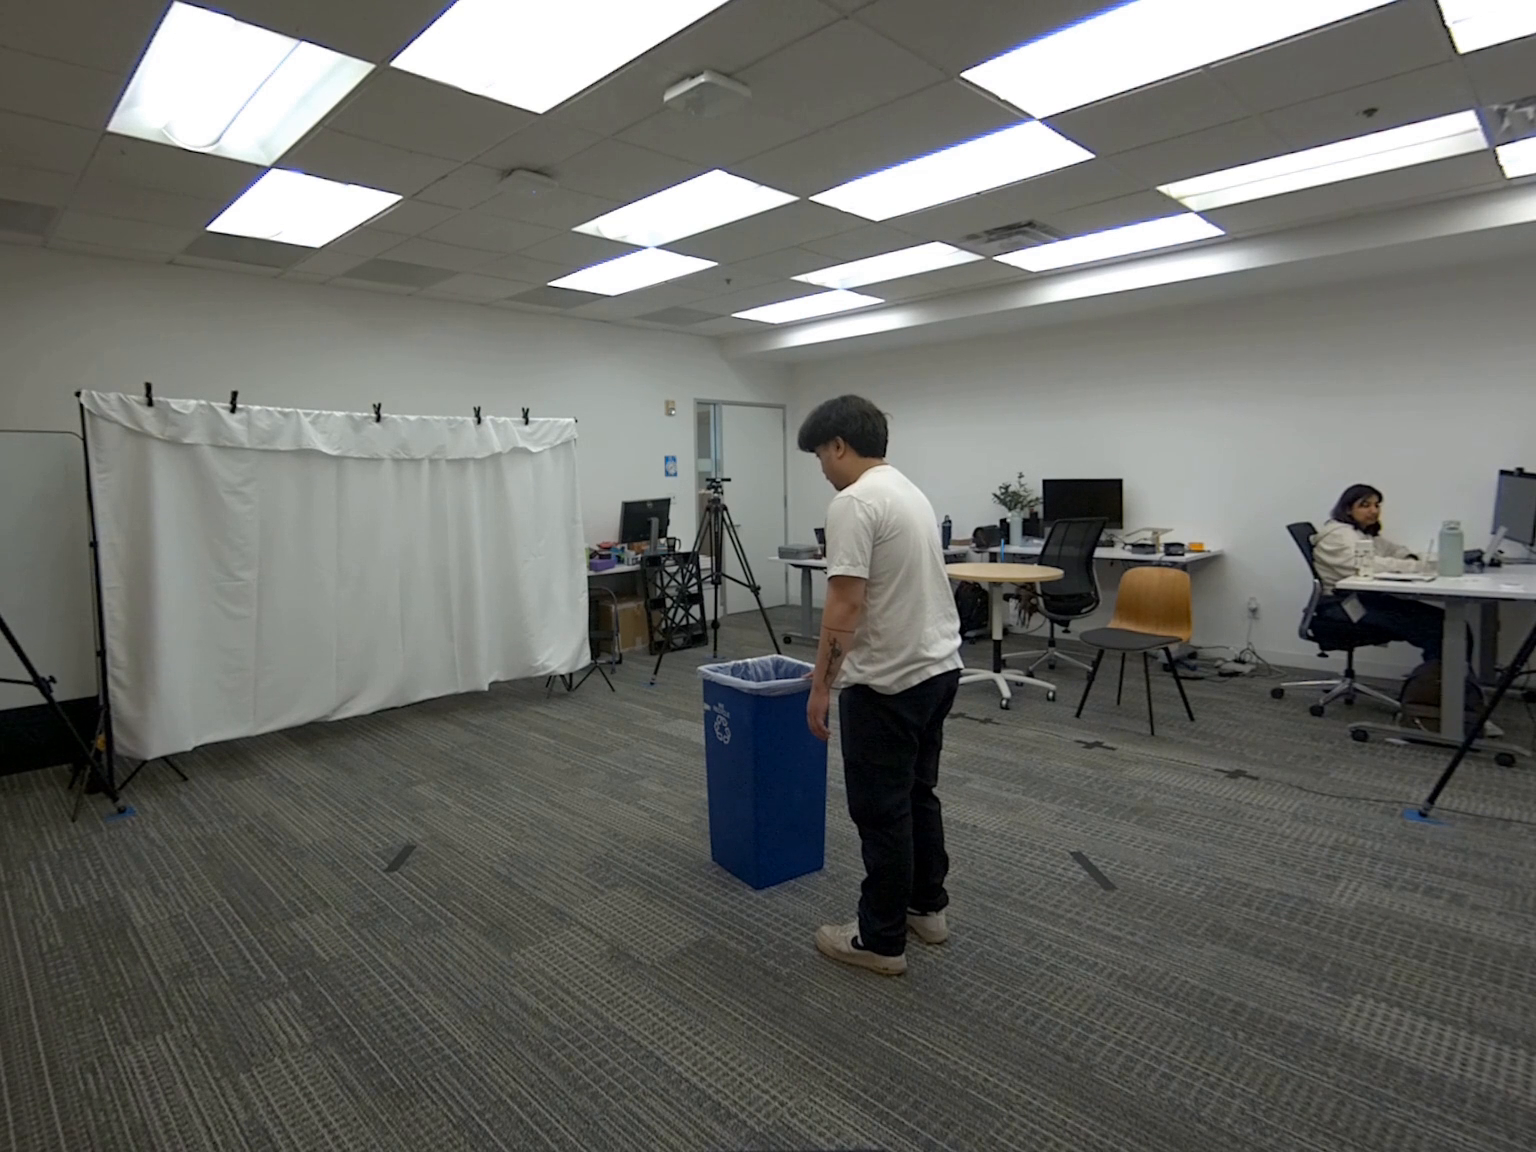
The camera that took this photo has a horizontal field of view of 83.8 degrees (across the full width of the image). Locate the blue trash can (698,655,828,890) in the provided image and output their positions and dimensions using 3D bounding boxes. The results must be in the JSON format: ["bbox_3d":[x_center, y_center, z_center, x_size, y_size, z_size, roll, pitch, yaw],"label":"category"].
[{"bbox_3d":[0.000,0.688,3.070,0.368,0.711,0.385,-4,5,-35],"label":"blue trash can"}]
